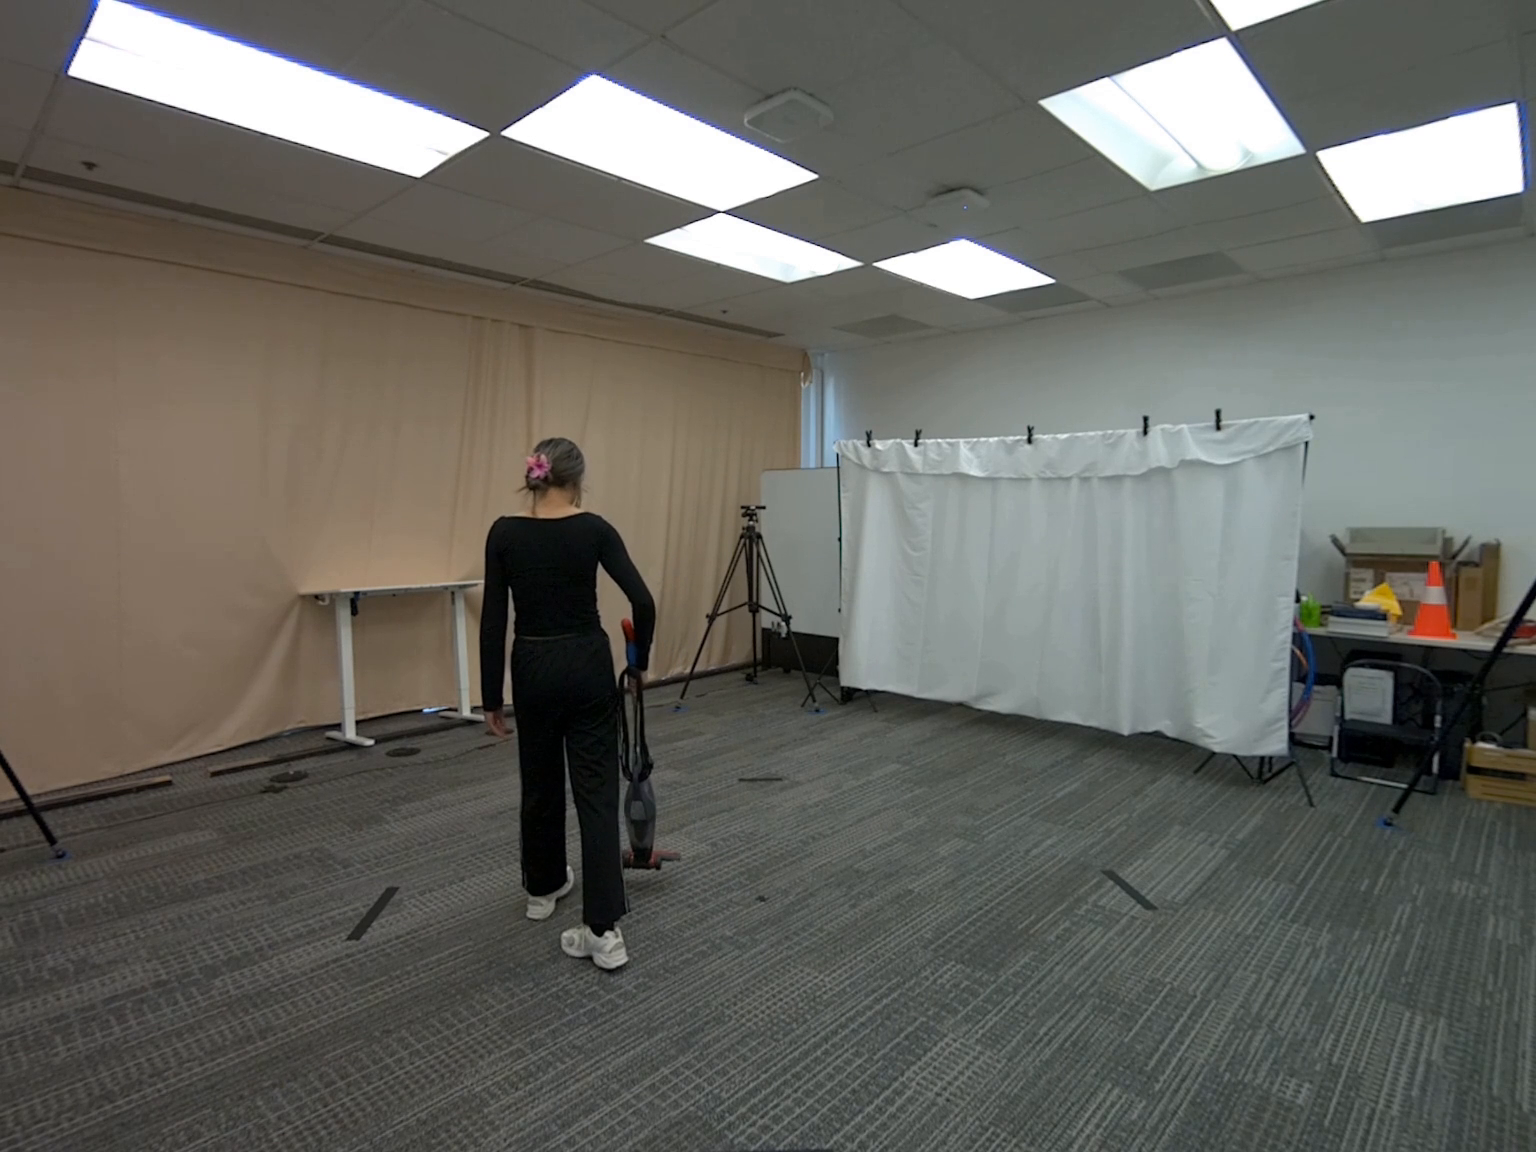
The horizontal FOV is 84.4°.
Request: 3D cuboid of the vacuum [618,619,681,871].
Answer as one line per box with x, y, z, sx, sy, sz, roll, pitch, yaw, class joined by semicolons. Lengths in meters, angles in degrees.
-0.437;0.601;2.823;0.253;1.033;0.146;3;29;1;vacuum
